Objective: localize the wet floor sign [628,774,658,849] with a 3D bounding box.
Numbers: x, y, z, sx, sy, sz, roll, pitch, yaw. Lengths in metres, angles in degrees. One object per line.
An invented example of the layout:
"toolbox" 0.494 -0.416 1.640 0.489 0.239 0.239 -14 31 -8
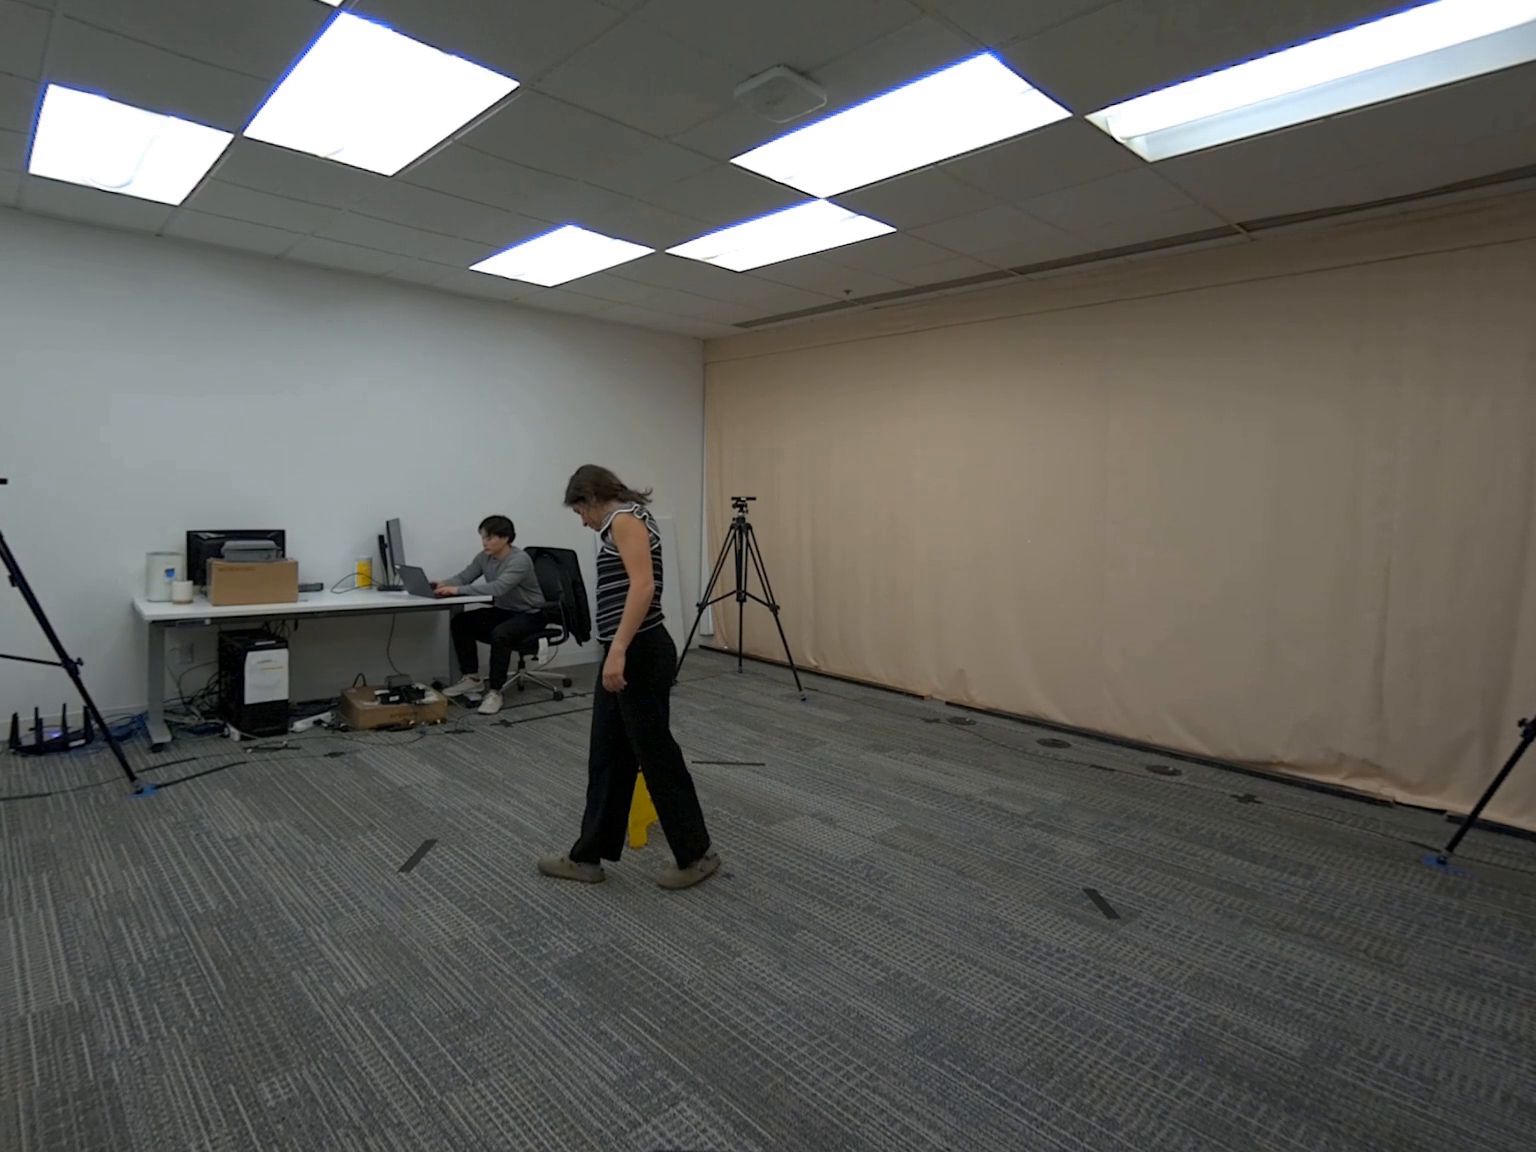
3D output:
"wet floor sign" -0.537 0.744 3.494 0.297 0.645 0.276 3 3 42
